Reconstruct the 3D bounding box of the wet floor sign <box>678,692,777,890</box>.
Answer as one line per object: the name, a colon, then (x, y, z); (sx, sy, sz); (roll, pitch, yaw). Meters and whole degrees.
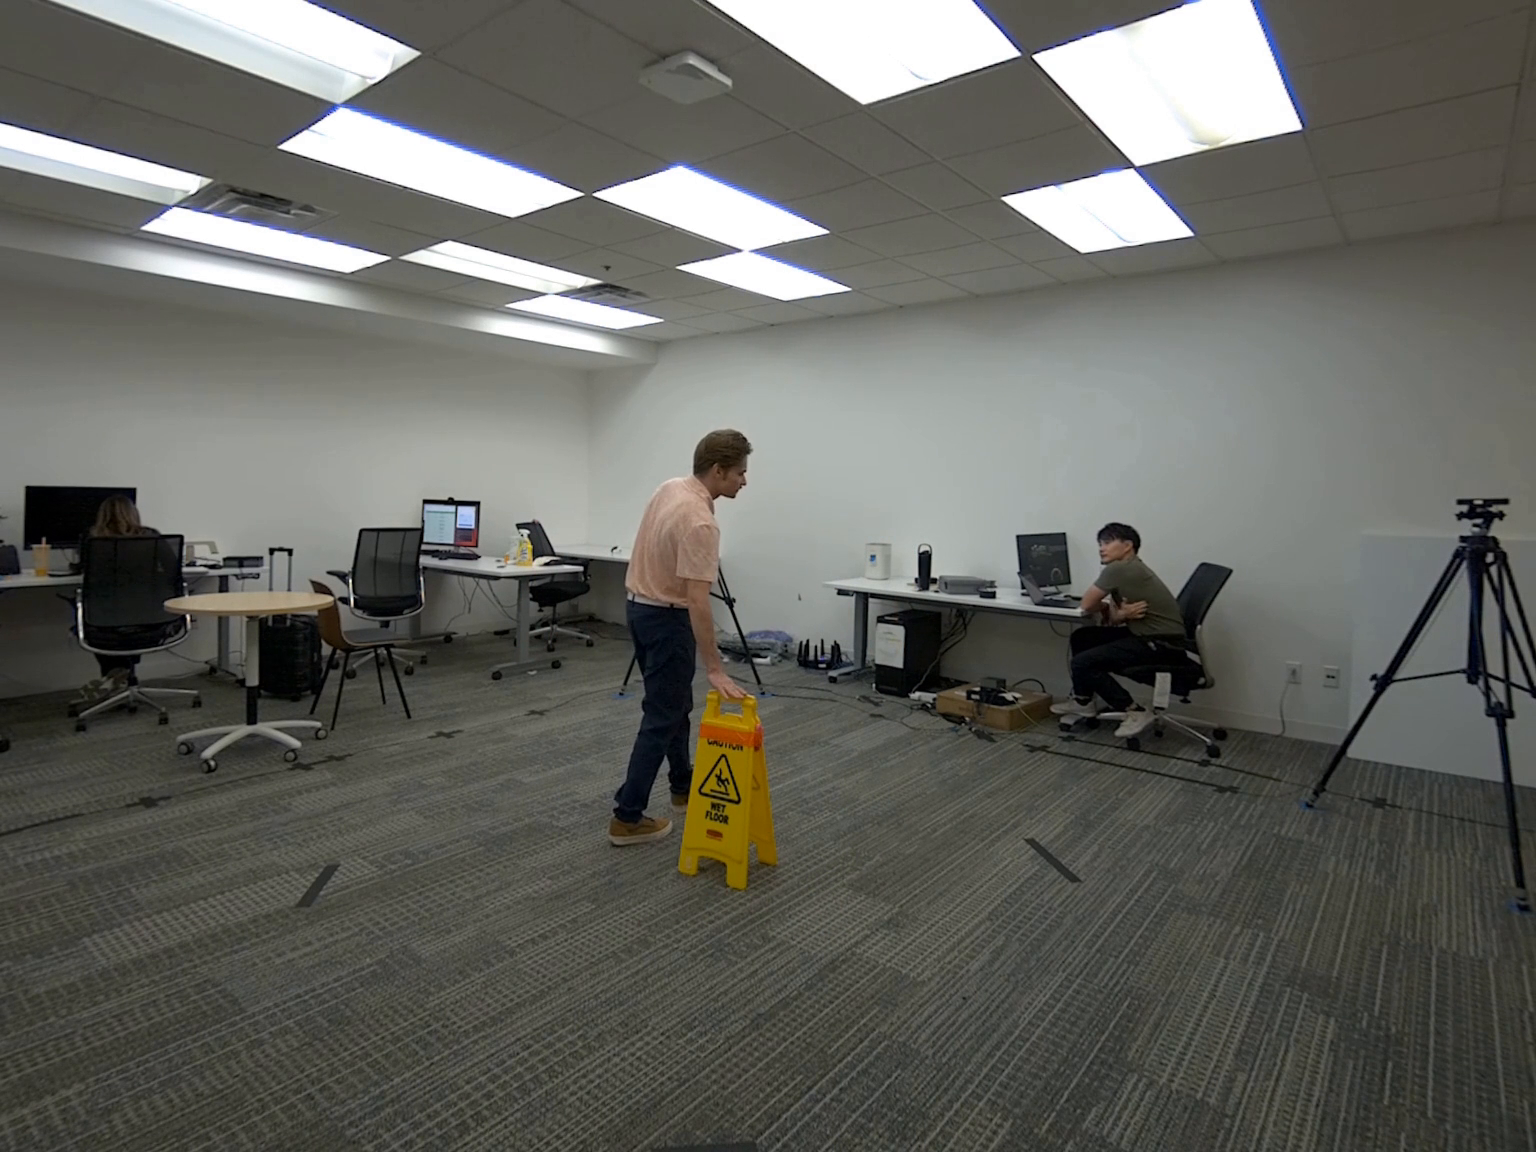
wet floor sign: (-0.150, 0.746, 3.104); (0.290, 0.644, 0.282); (2, 3, 29)
